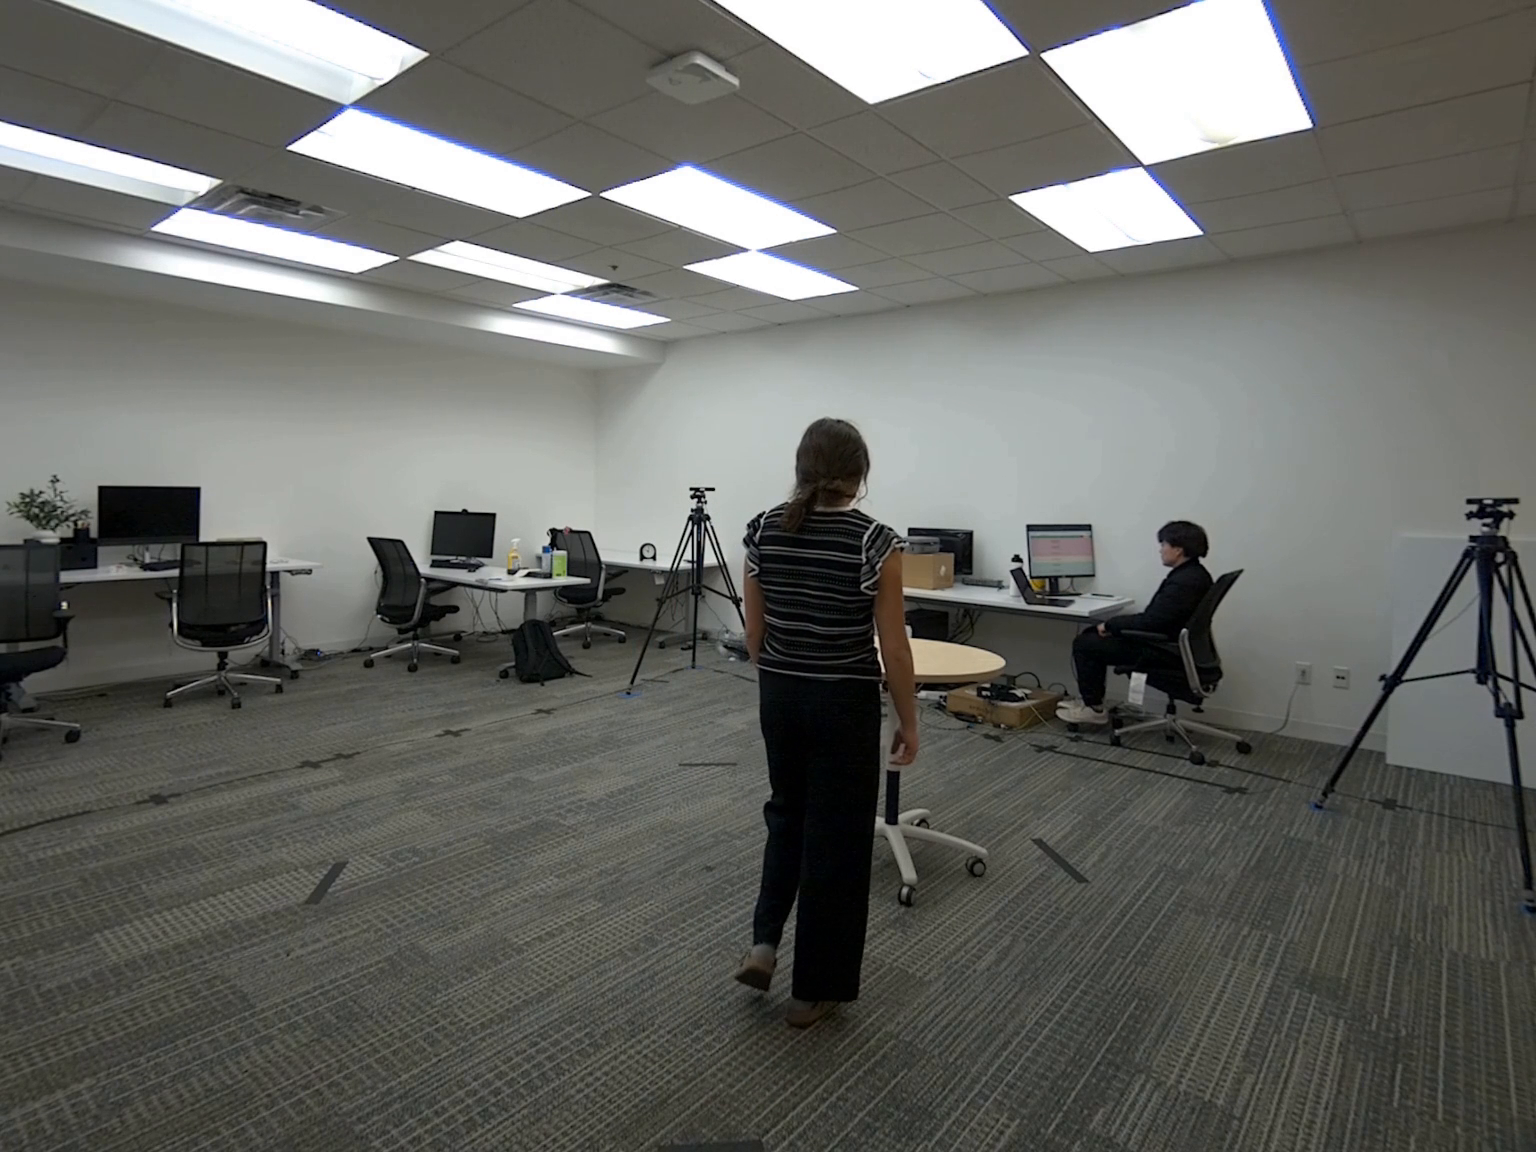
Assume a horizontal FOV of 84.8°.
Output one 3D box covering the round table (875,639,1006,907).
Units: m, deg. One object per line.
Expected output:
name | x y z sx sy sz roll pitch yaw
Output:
round table | 0.469 0.681 3.216 0.763 0.791 0.768 2 4 -2
